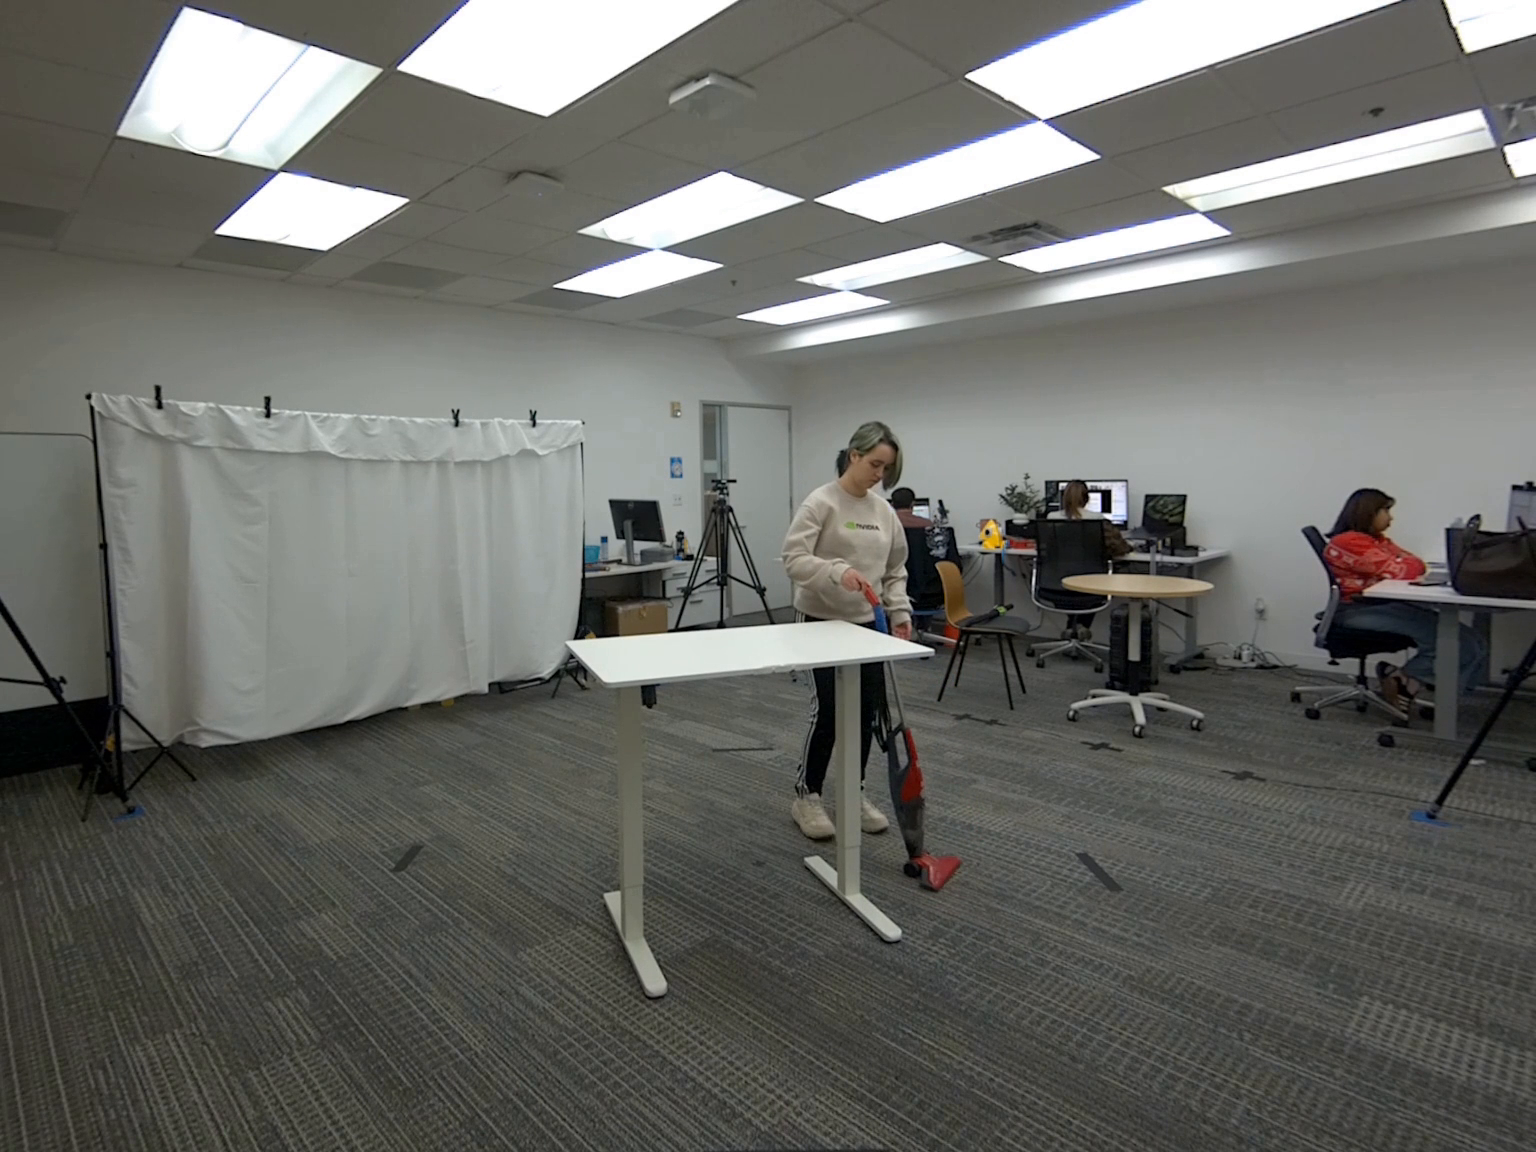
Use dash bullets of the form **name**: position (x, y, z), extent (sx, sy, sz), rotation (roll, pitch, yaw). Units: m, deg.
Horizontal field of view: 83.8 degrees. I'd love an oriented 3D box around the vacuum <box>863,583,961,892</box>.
- **vacuum**: position (0.452, 0.545, 3.042), extent (0.147, 1.055, 0.246), rotation (-18, -7, 40)
